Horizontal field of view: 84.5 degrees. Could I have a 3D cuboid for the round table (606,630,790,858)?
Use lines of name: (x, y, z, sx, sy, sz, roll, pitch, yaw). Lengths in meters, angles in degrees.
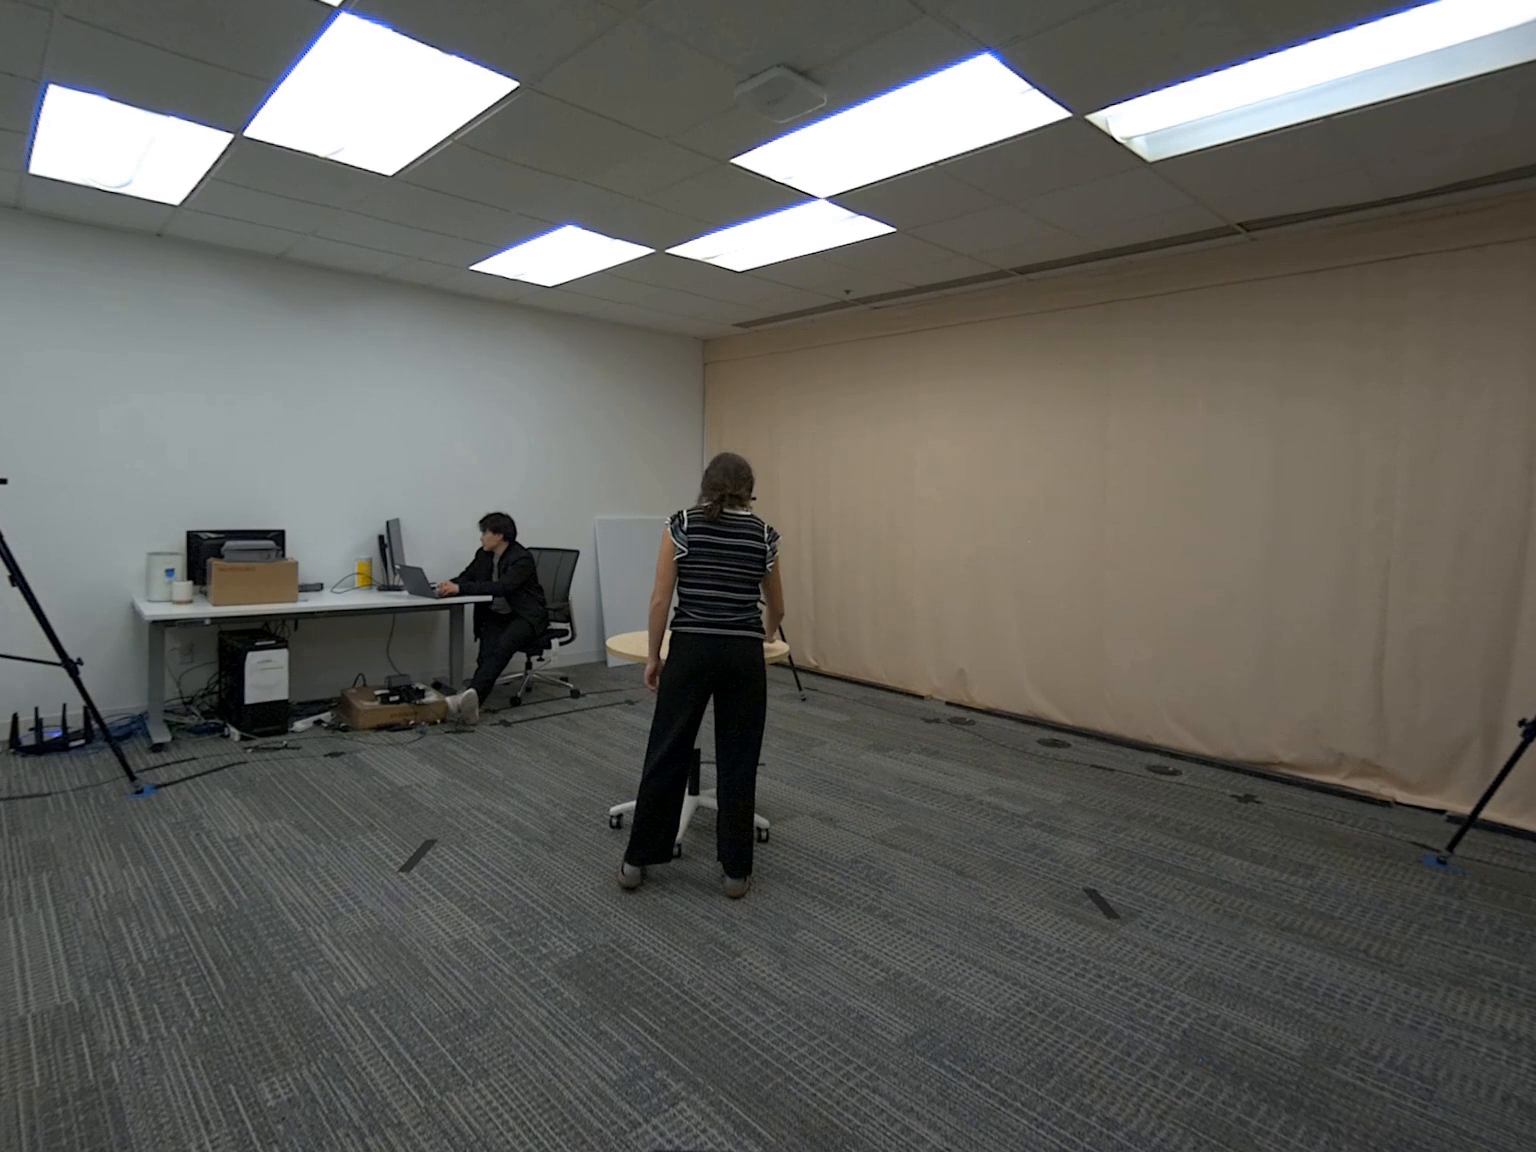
round table: (-0.315, 0.679, 3.548, 0.763, 0.792, 0.766, 2, 4, -2)
